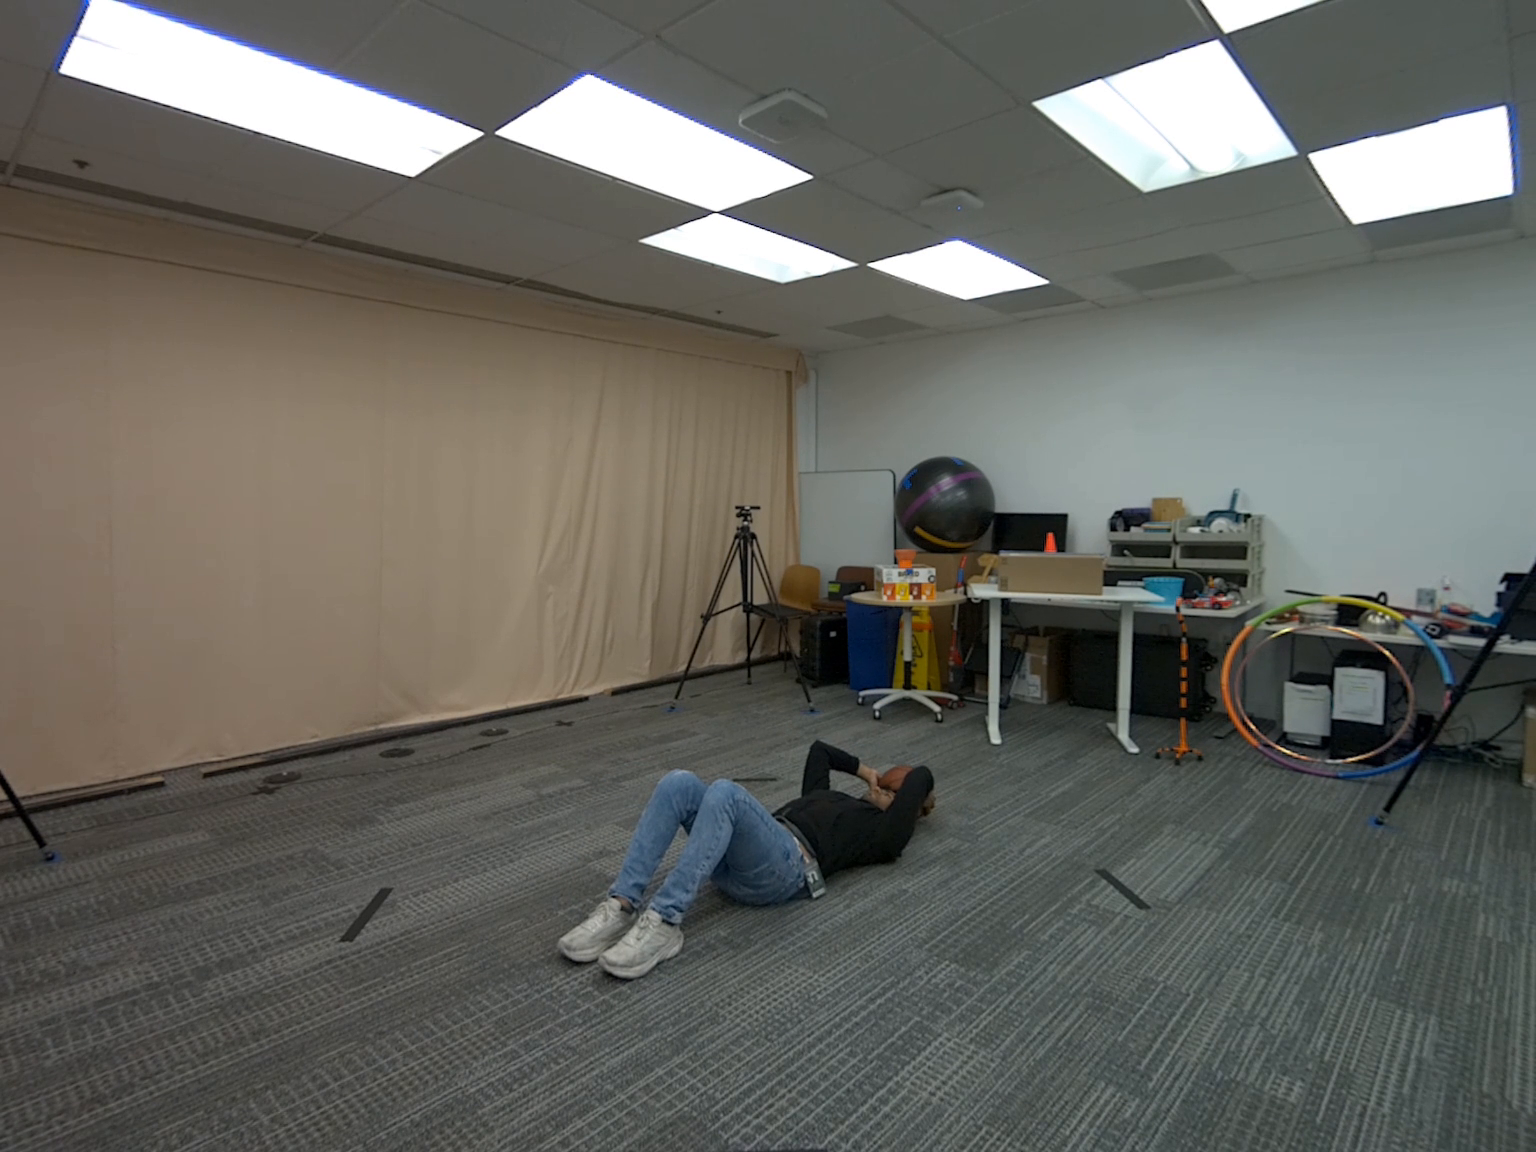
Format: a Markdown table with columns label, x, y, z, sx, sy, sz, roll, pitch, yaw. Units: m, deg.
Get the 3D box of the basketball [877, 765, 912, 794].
| label | x | y | z | sx | sy | sz | roll | pitch | yaw |
| --- | --- | --- | --- | --- | --- | --- | --- | --- | --- |
| basketball | 0.608 | 0.961 | 3.727 | 0.236 | 0.235 | 0.237 | 0 | 4 | -2 |
